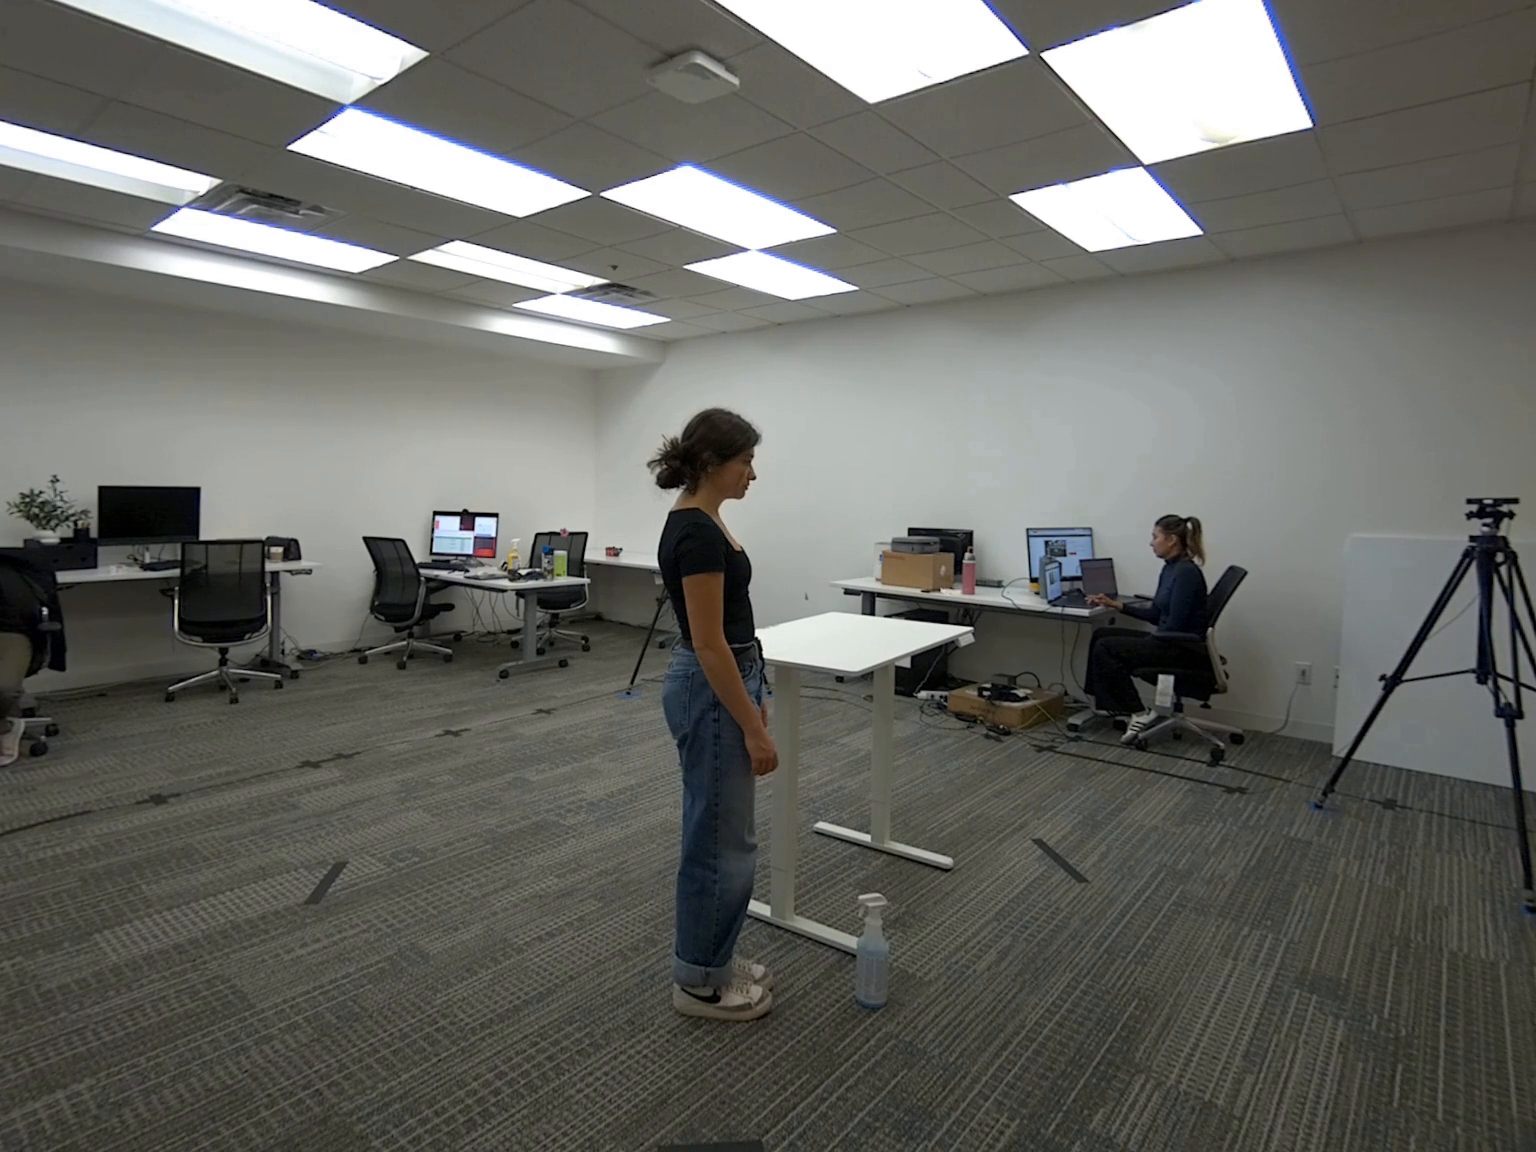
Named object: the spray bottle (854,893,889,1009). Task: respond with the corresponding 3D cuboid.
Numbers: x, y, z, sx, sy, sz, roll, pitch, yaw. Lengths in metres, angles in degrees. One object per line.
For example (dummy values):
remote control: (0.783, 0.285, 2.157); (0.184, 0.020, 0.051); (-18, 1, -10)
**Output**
spray bottle: (0.277, 1.016, 2.310); (0.090, 0.296, 0.087); (0, 3, 0)
